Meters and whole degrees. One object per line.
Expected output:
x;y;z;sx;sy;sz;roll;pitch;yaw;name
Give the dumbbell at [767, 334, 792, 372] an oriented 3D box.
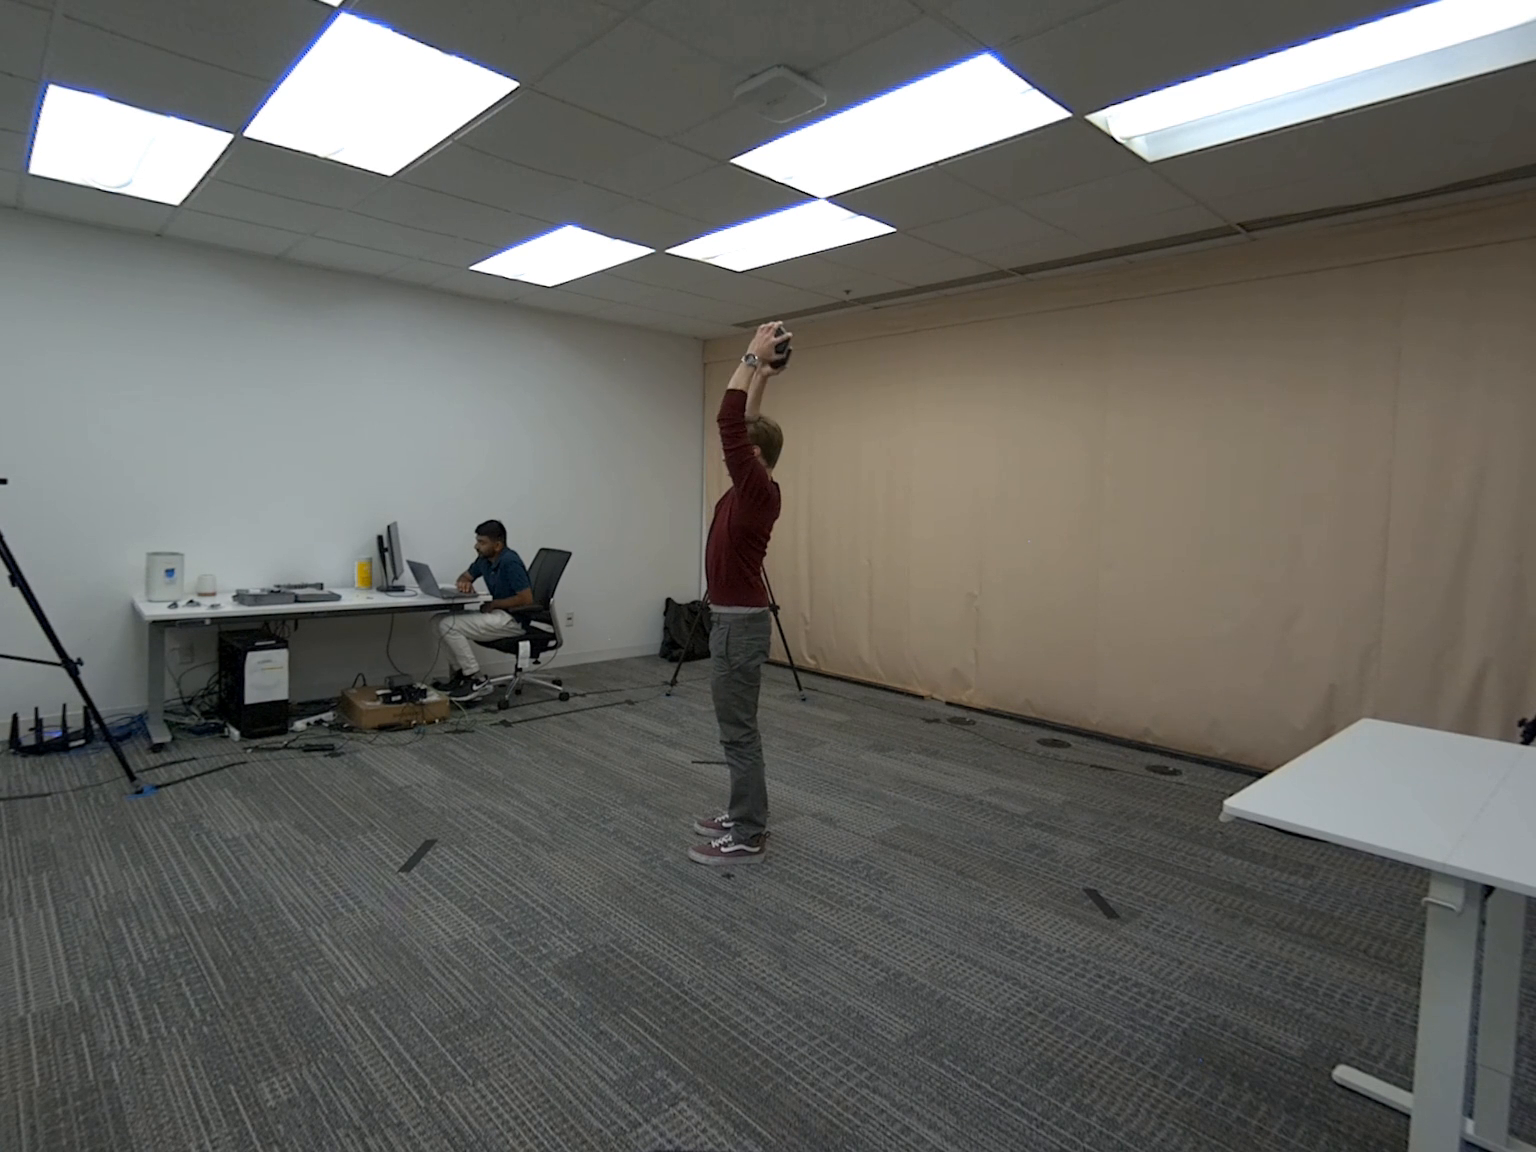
0.016;-0.878;3.269;0.123;0.108;0.293;-4;3;1;dumbbell
